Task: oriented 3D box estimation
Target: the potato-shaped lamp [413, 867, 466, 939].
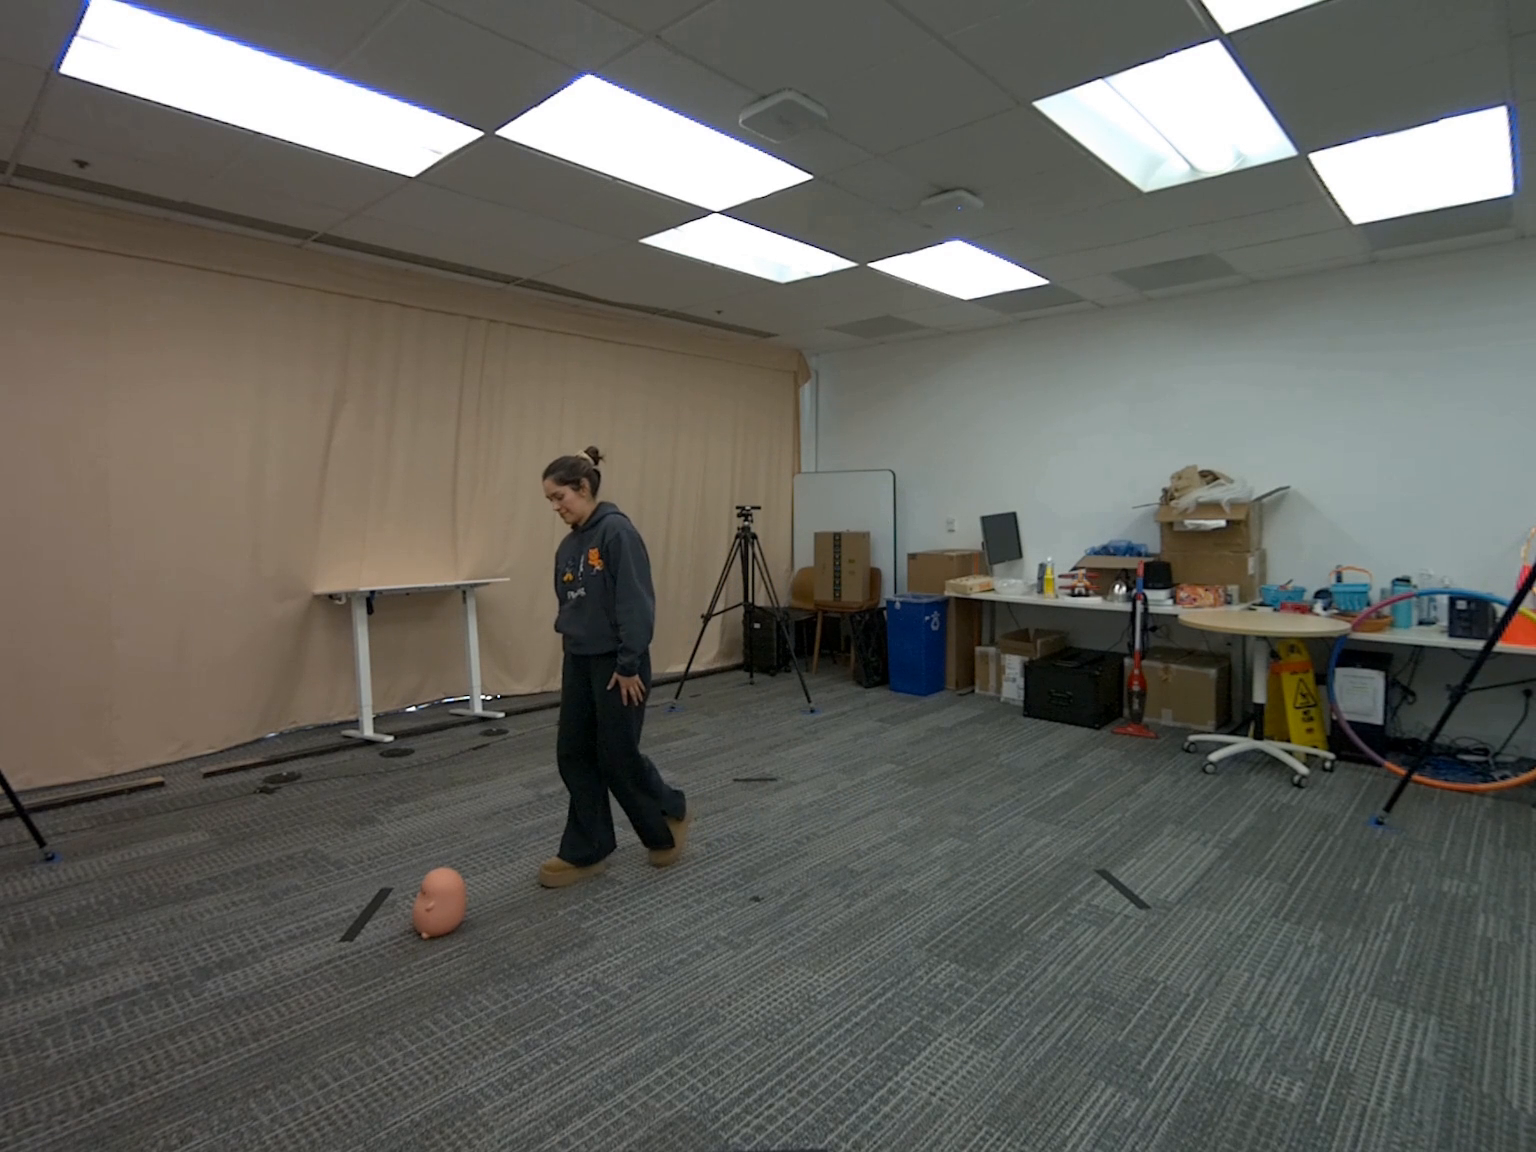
[{"bbox_3d":[-1.068,1.079,2.789,0.166,0.198,0.170,3,1,-39],"label":"potato-shaped lamp"}]
